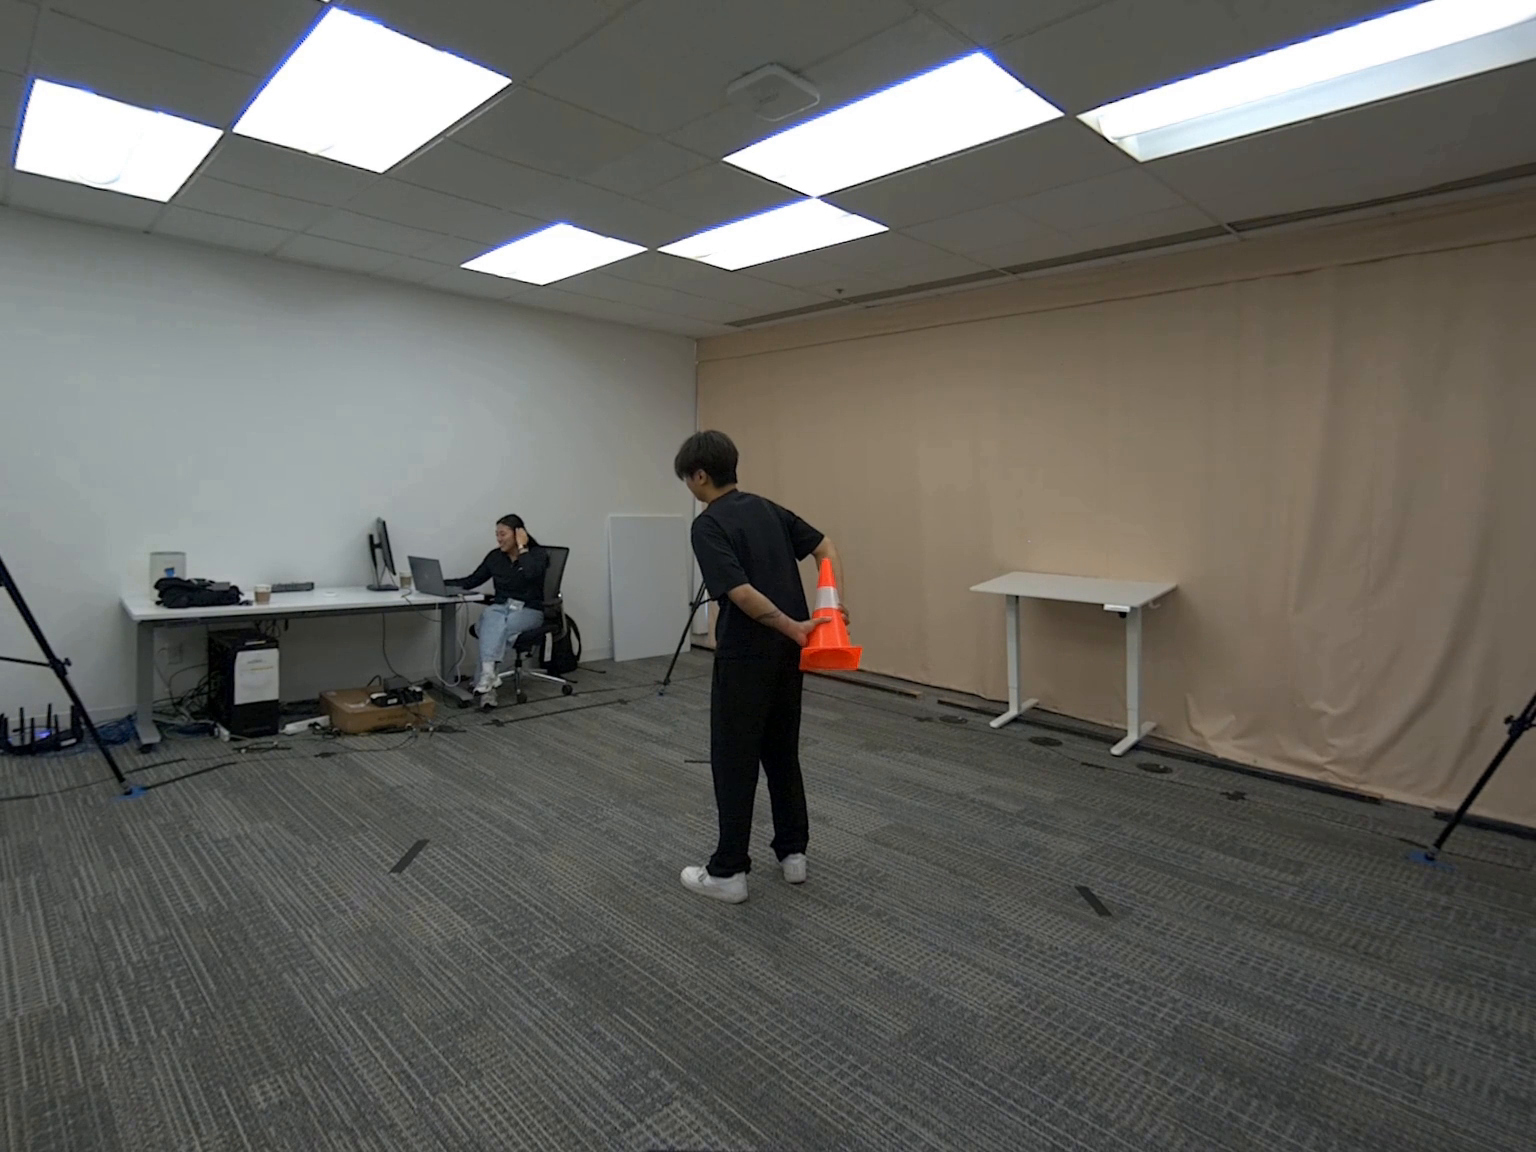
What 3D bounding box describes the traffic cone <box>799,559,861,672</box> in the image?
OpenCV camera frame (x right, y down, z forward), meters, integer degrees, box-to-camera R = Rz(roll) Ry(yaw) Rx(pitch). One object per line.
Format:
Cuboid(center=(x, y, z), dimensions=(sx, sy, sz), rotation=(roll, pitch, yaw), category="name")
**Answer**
Cuboid(center=(0.198, 0.114, 2.925), dimensions=(0.203, 0.391, 0.201), rotation=(1, -31, -3), category="traffic cone")
